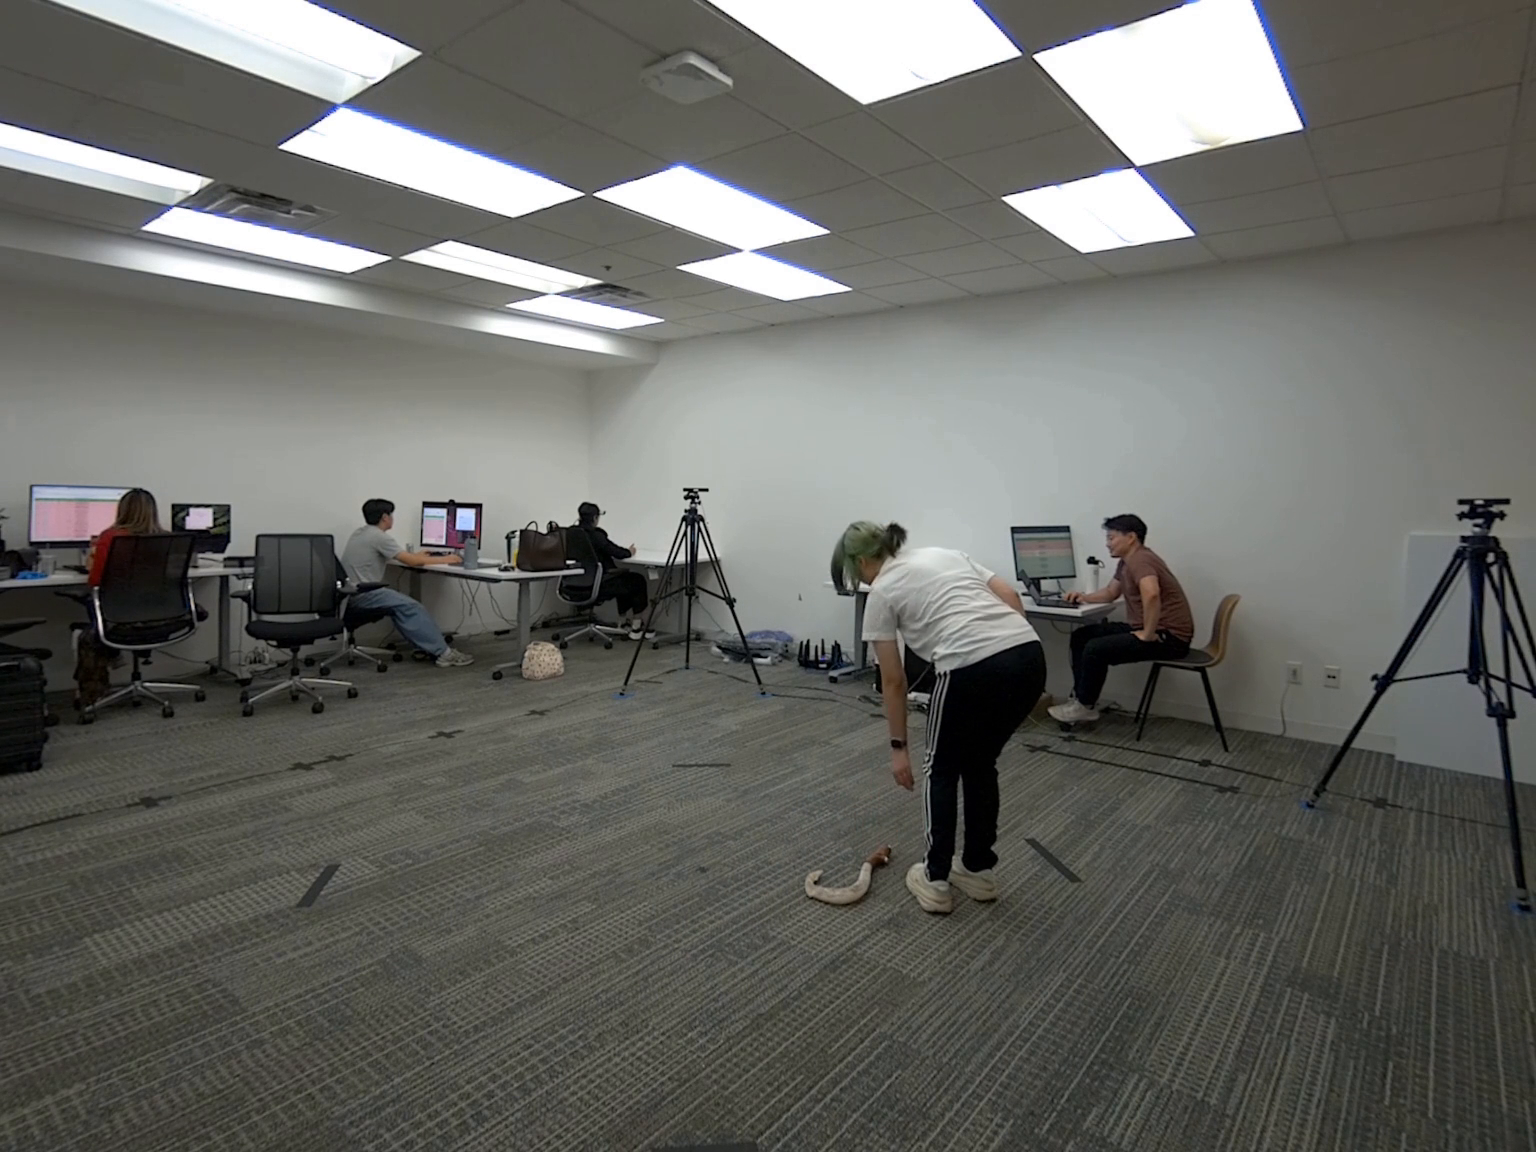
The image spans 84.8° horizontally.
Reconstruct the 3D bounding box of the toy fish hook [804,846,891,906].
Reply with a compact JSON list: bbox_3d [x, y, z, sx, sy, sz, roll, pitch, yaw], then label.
[{"bbox_3d":[0.292,1.061,3.083,0.231,0.048,0.494,6,7,28],"label":"toy fish hook"}]
